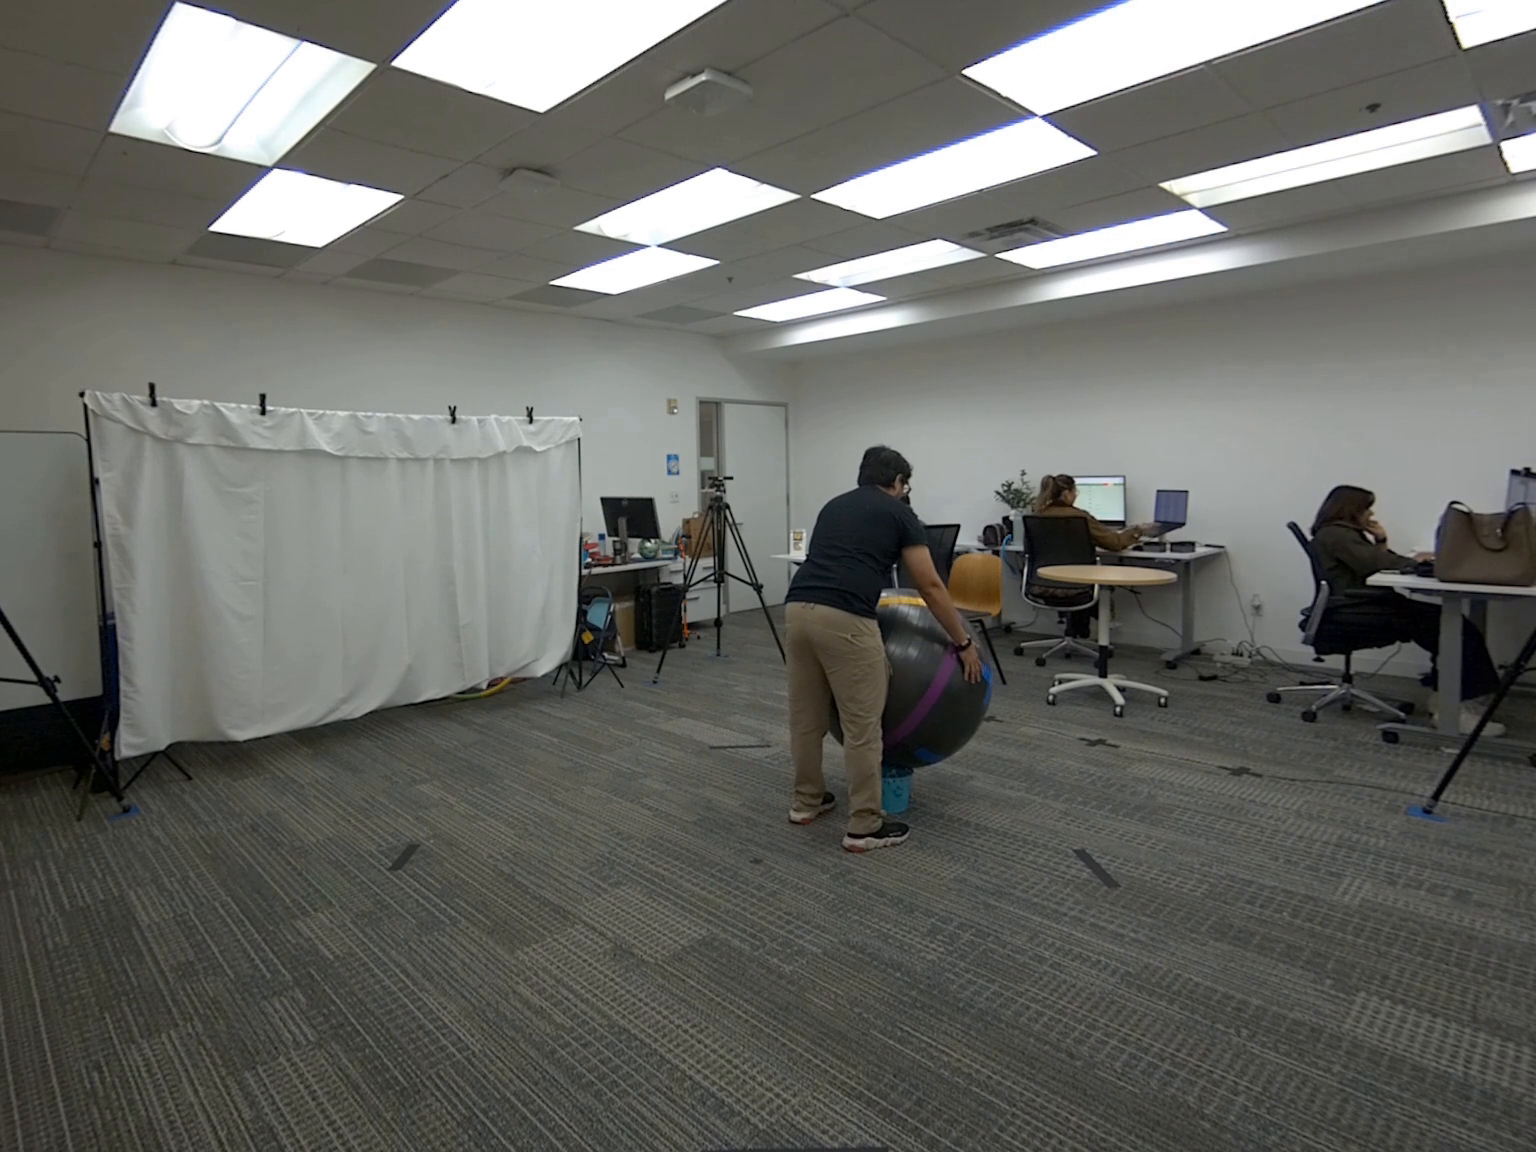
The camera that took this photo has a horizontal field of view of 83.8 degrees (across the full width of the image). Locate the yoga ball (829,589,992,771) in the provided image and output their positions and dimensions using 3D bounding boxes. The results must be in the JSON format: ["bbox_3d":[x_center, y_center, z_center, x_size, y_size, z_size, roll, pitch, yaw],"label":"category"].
[{"bbox_3d":[0.566,0.435,3.659,0.757,0.755,0.762,-1,5,-2],"label":"yoga ball"}]
